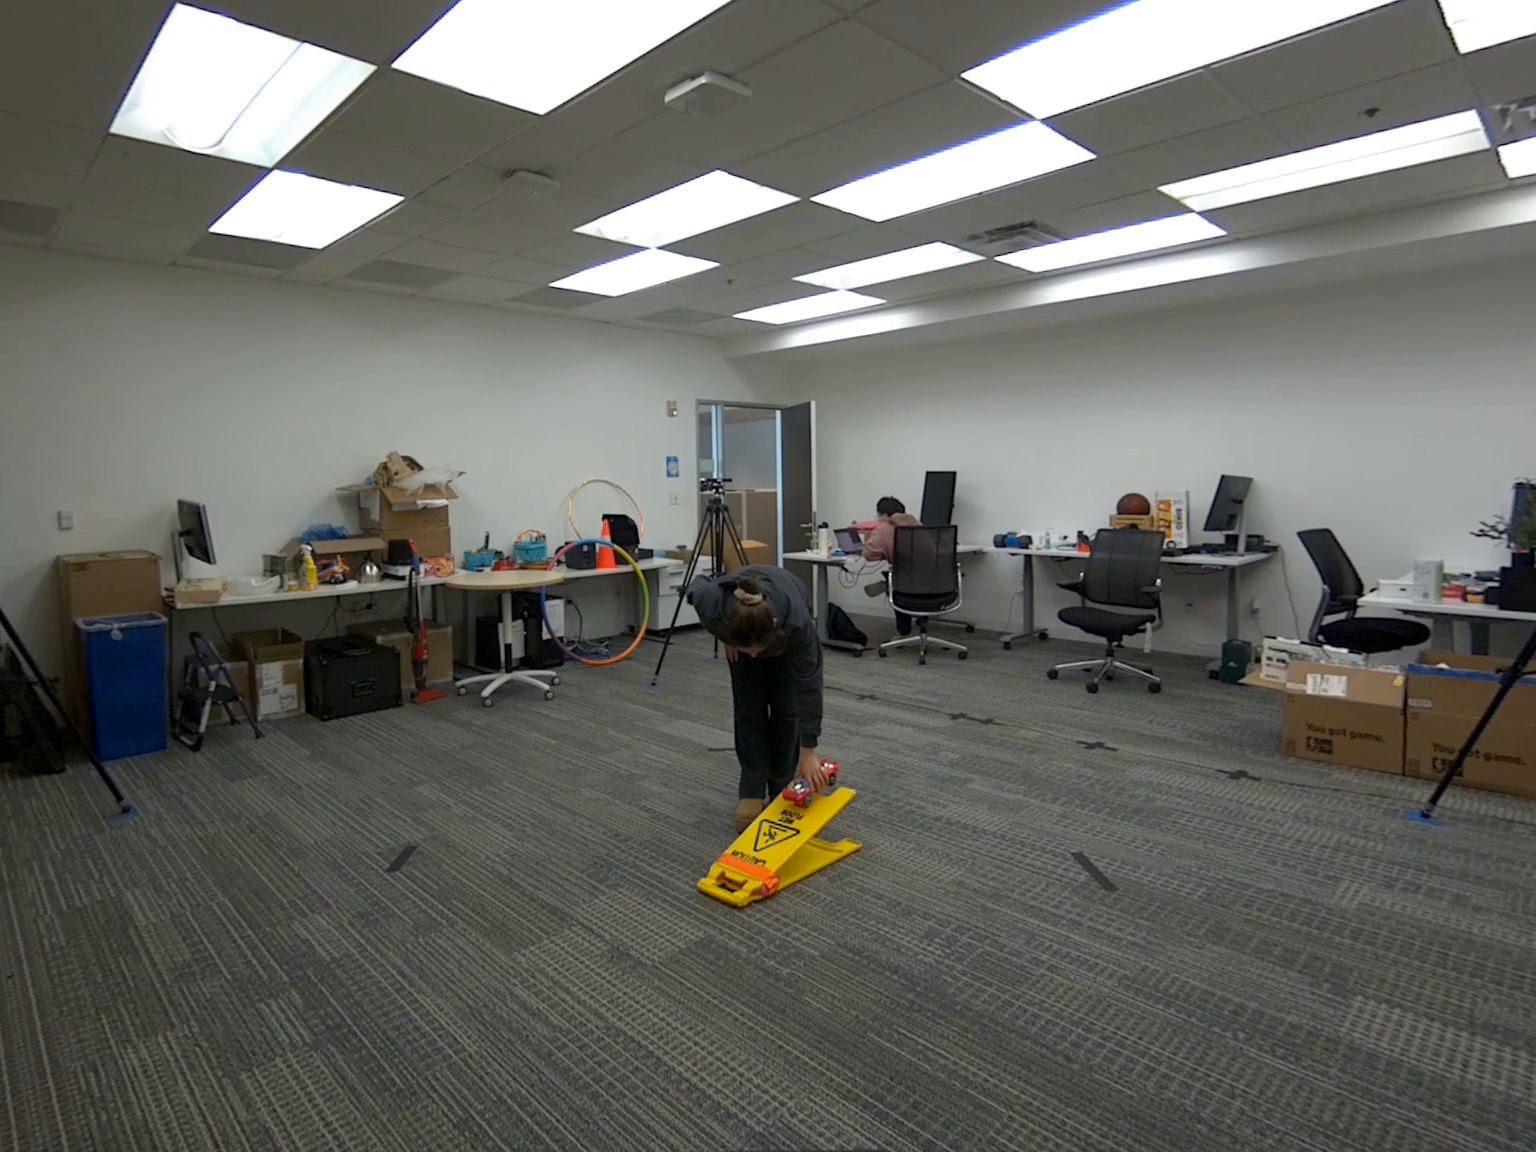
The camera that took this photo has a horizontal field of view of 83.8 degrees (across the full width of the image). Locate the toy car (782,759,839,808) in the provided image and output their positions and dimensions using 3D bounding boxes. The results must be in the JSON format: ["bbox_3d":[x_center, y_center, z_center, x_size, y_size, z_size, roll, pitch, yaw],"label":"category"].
[{"bbox_3d":[0.170,0.779,3.193,0.134,0.081,0.253,0,33,45],"label":"toy car"}]
